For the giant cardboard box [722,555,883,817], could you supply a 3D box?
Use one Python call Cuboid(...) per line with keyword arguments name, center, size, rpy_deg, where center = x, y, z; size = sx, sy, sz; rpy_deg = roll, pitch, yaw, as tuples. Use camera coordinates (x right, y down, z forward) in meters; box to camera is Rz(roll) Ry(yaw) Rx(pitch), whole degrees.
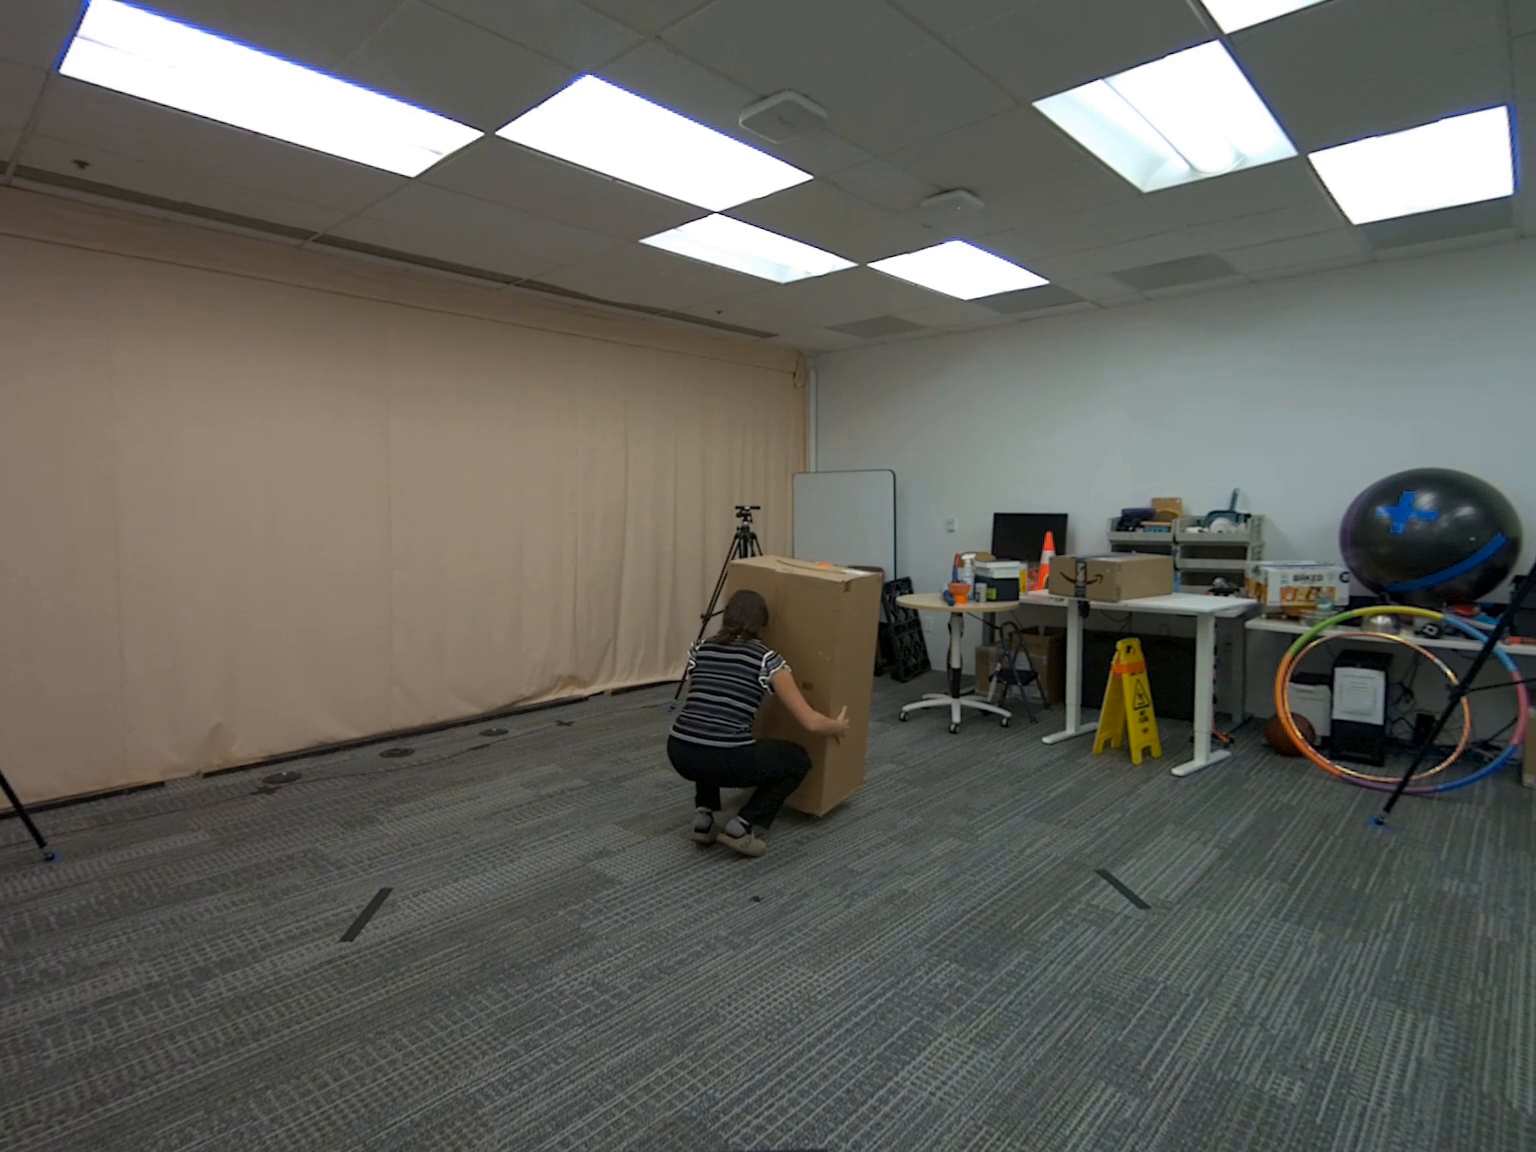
Cuboid(name="giant cardboard box", center=(0.136, 0.457, 3.861), size=(0.596, 1.021, 0.415), rpy_deg=(9, 9, 31))
